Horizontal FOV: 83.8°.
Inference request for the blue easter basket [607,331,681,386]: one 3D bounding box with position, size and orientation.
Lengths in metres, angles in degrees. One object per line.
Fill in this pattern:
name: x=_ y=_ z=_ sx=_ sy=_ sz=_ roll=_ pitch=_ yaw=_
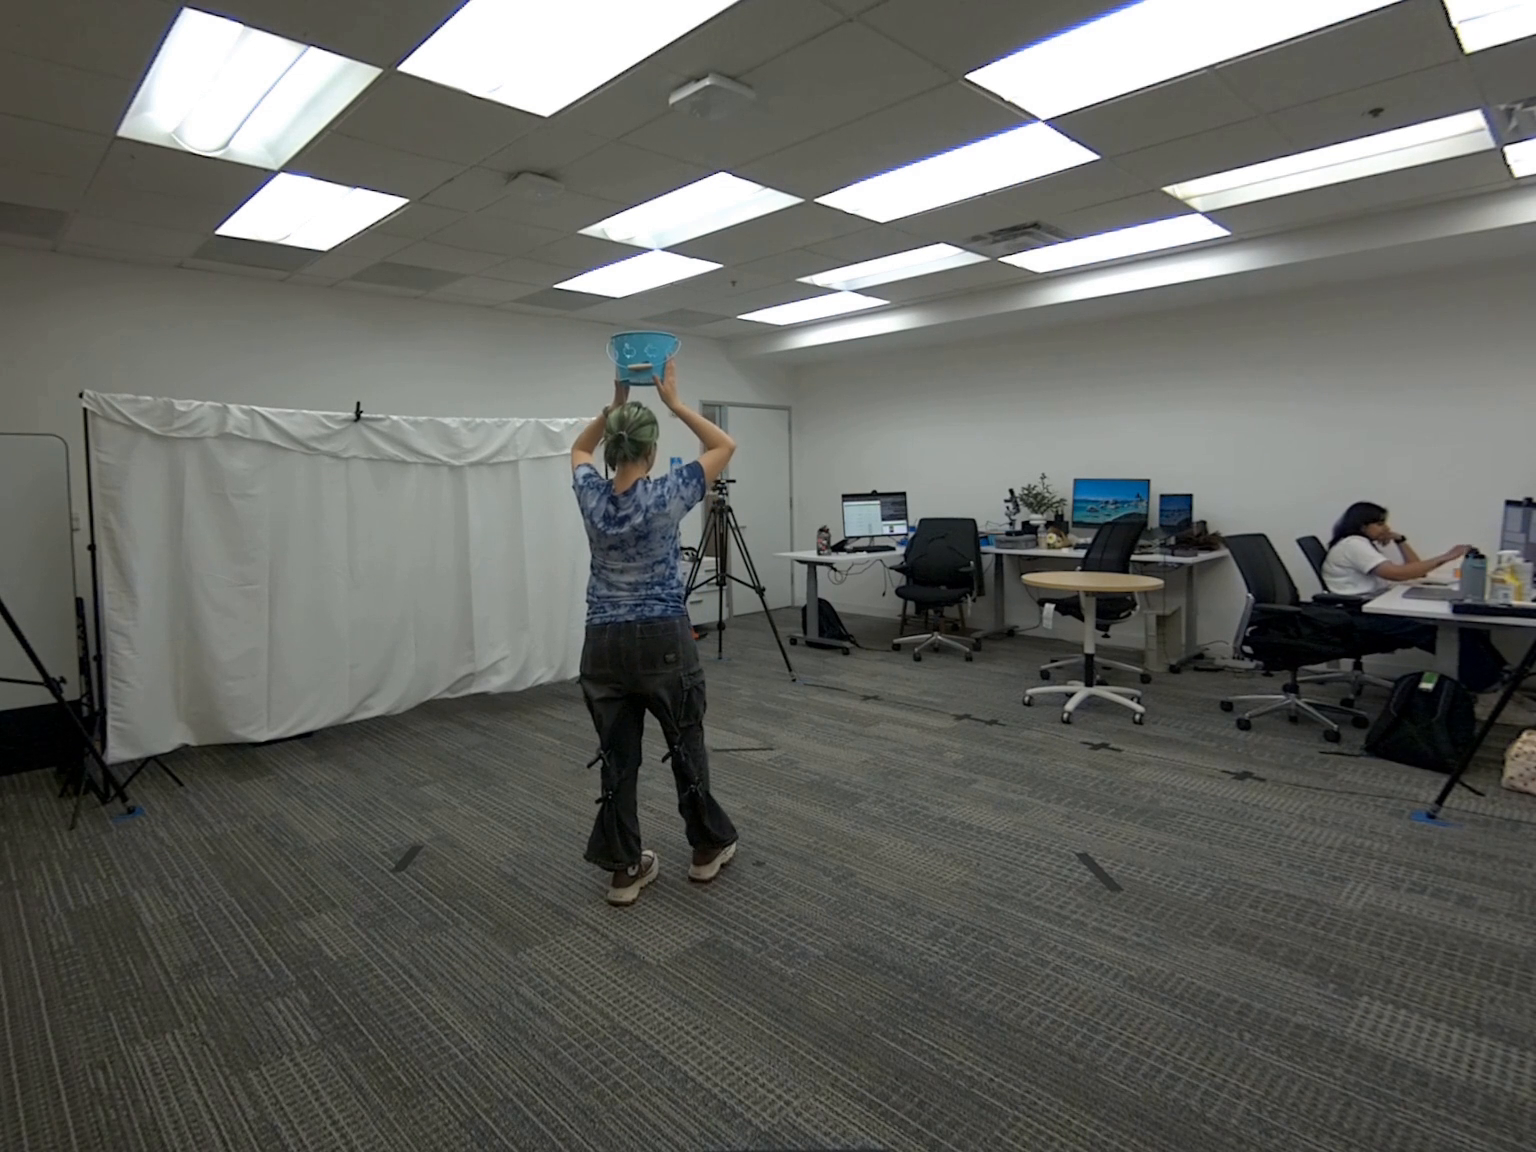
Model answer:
blue easter basket: x=-0.432 y=-0.746 z=2.931 sx=0.243 sy=0.155 sz=0.245 roll=-1 pitch=5 yaw=-2
